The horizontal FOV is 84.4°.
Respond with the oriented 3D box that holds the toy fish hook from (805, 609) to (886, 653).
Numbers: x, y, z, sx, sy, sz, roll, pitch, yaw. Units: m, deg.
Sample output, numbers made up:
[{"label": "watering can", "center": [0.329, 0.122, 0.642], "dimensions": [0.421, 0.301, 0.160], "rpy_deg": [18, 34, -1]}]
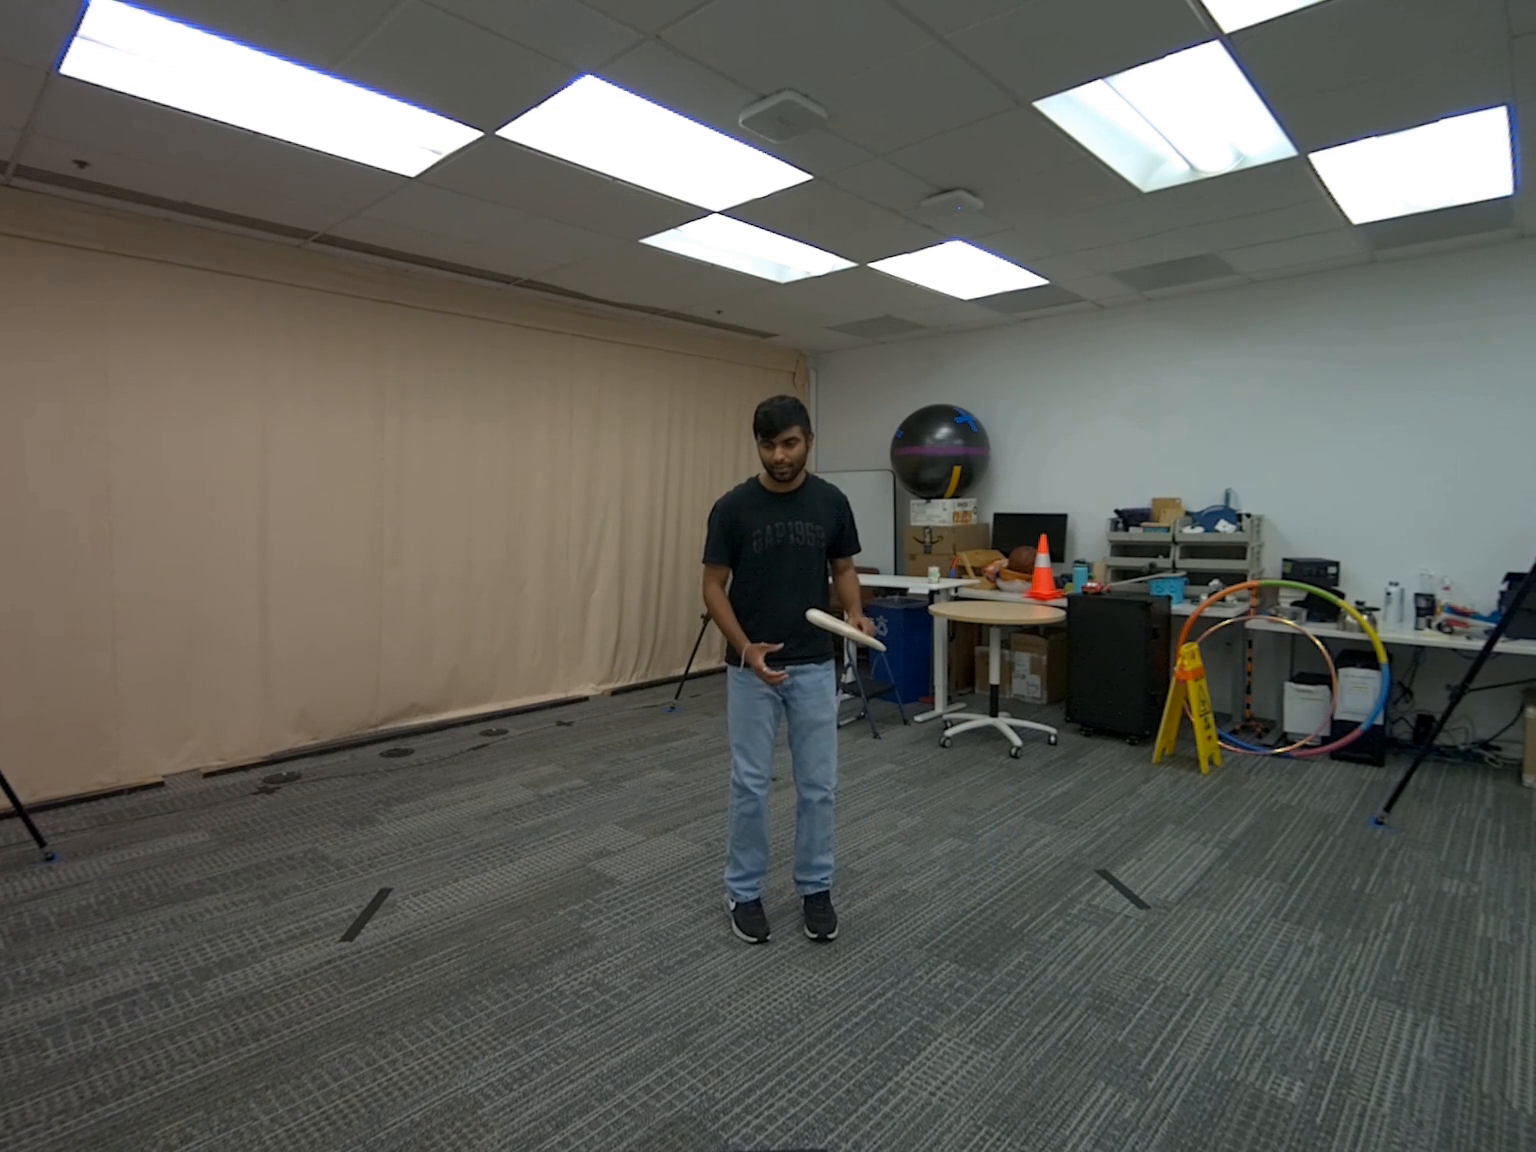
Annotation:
[{"label": "toy fish hook", "center": [0.256, 0.185, 2.434], "dimensions": [0.231, 0.048, 0.492], "rpy_deg": [29, 0, 24]}]
